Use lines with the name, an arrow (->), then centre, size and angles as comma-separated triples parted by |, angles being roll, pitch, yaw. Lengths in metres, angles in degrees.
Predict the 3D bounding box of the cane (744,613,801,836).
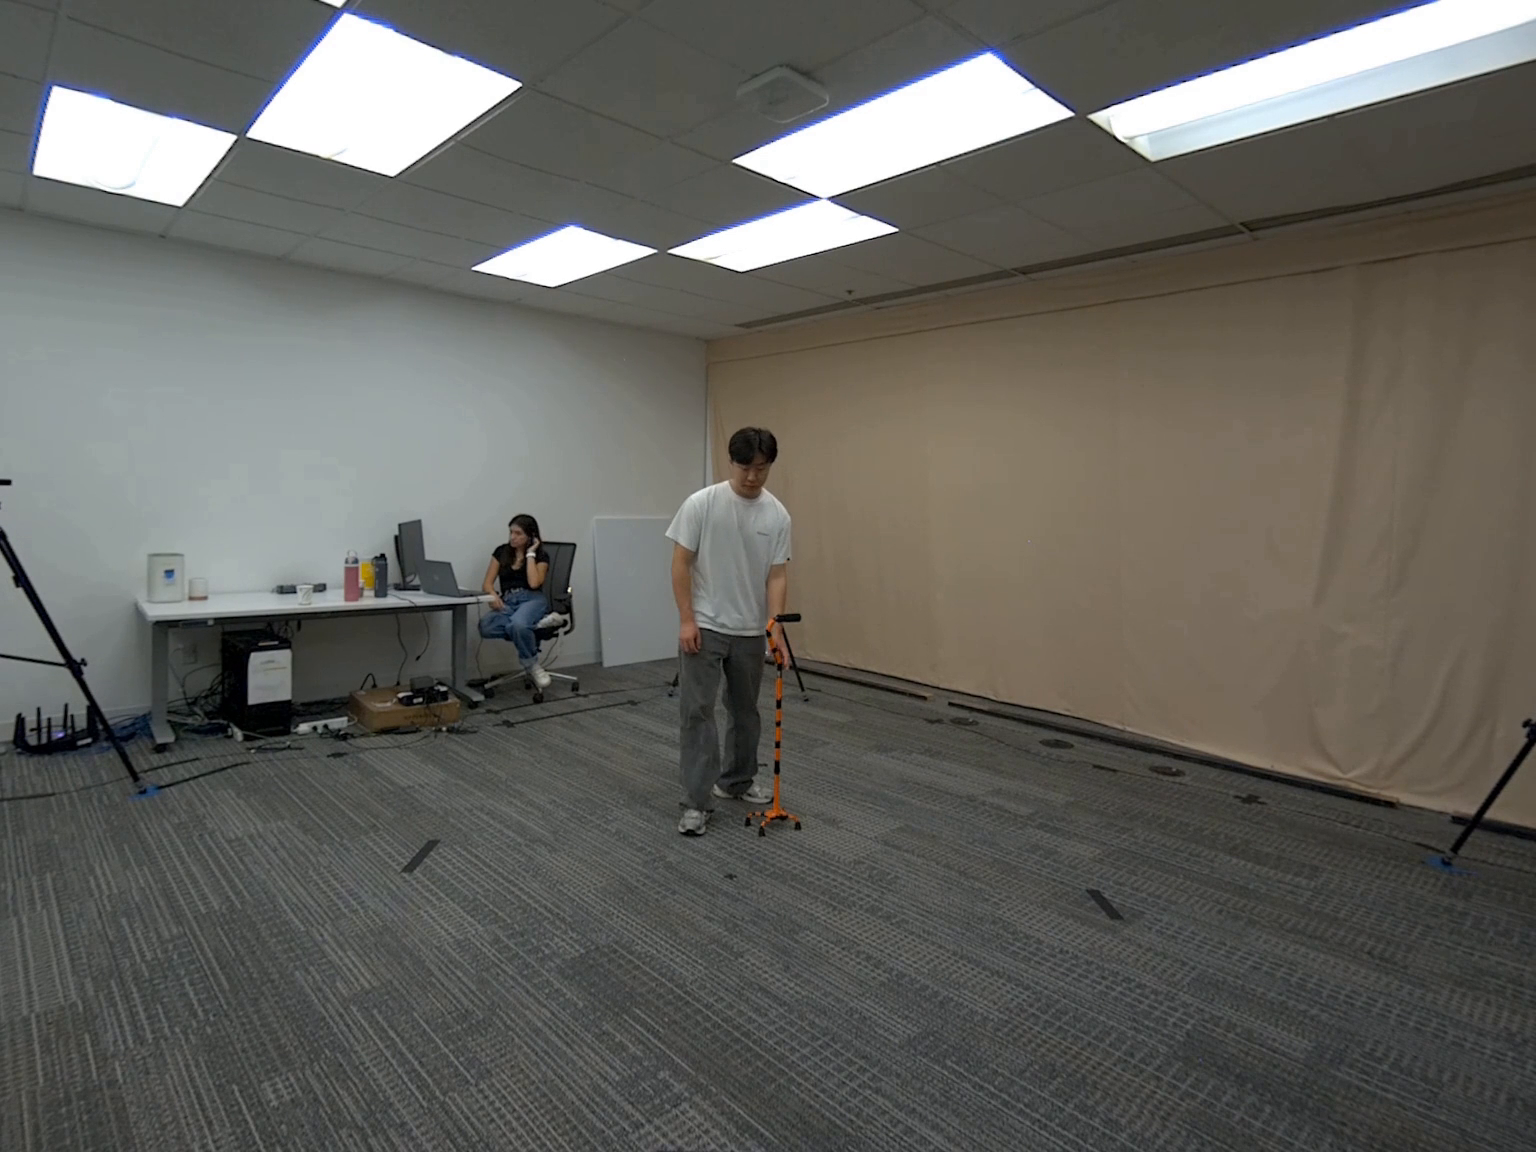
cane -> 0.027, 0.615, 3.552 | 0.202, 0.905, 0.155 | 0, 4, -30
